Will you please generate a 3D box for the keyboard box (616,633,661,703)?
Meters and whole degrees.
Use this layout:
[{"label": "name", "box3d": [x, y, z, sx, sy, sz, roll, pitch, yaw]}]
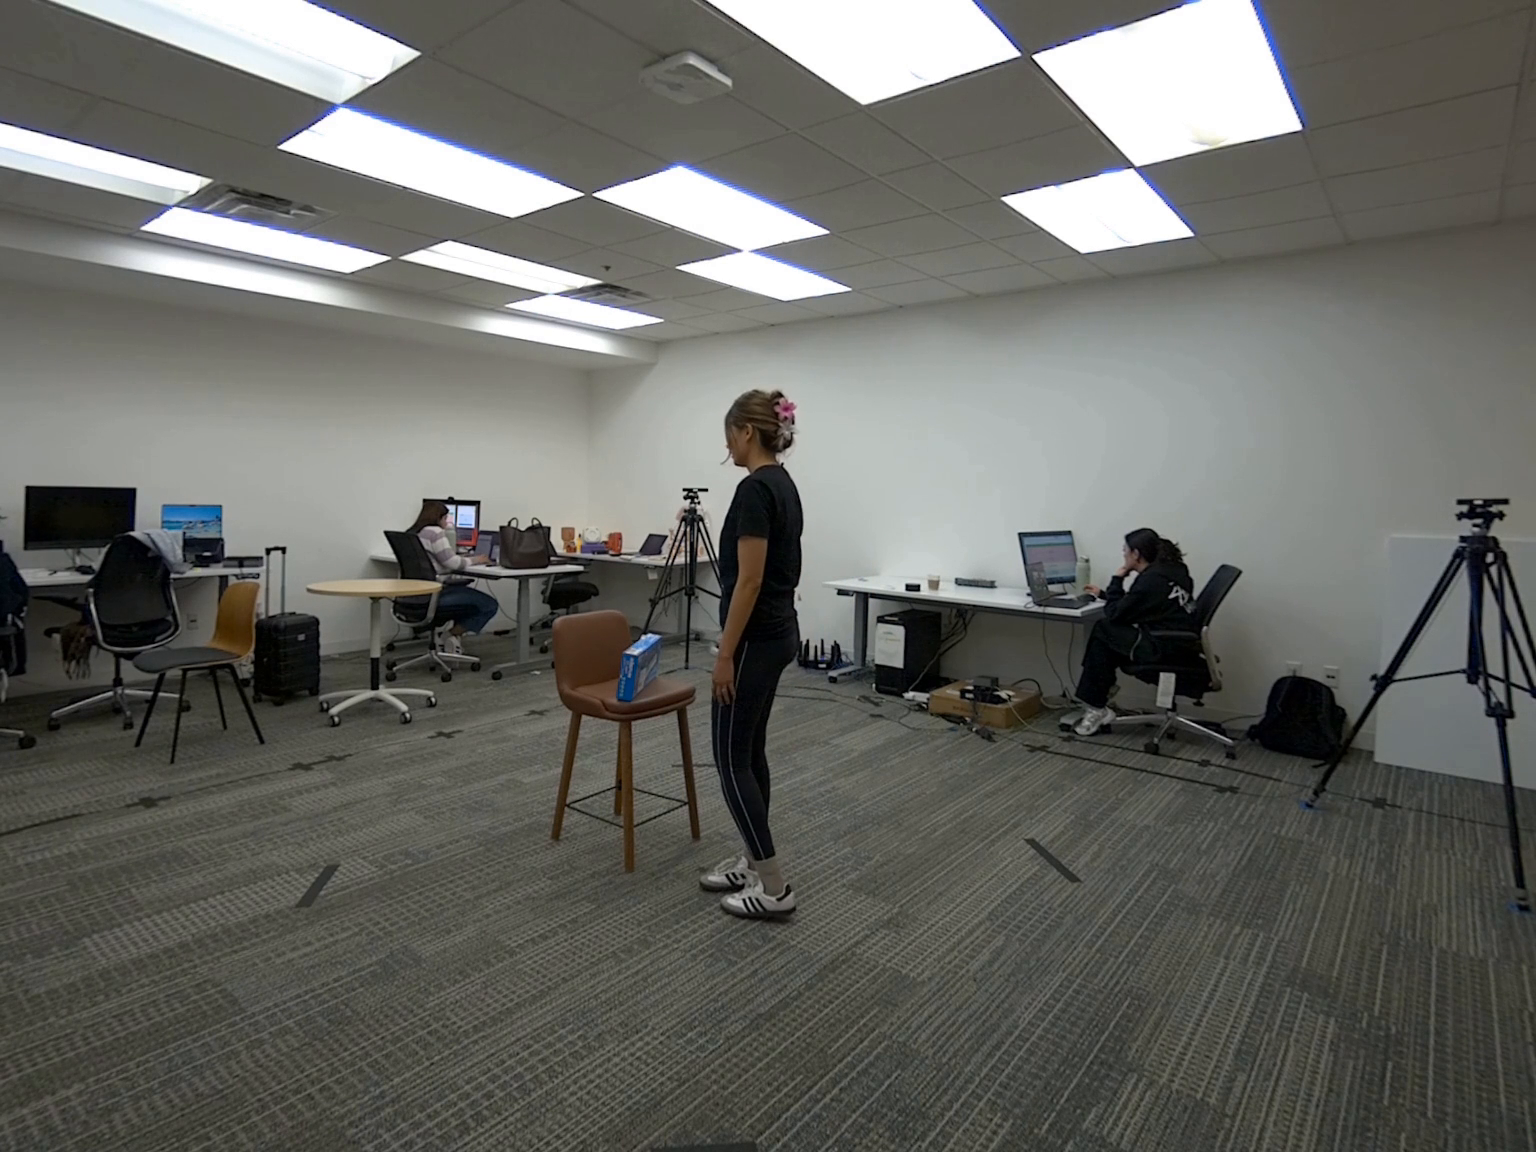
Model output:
[{"label": "keyboard box", "box3d": [-0.507, 0.341, 3.302, 0.059, 0.175, 0.435, 7, 5, 4]}]
